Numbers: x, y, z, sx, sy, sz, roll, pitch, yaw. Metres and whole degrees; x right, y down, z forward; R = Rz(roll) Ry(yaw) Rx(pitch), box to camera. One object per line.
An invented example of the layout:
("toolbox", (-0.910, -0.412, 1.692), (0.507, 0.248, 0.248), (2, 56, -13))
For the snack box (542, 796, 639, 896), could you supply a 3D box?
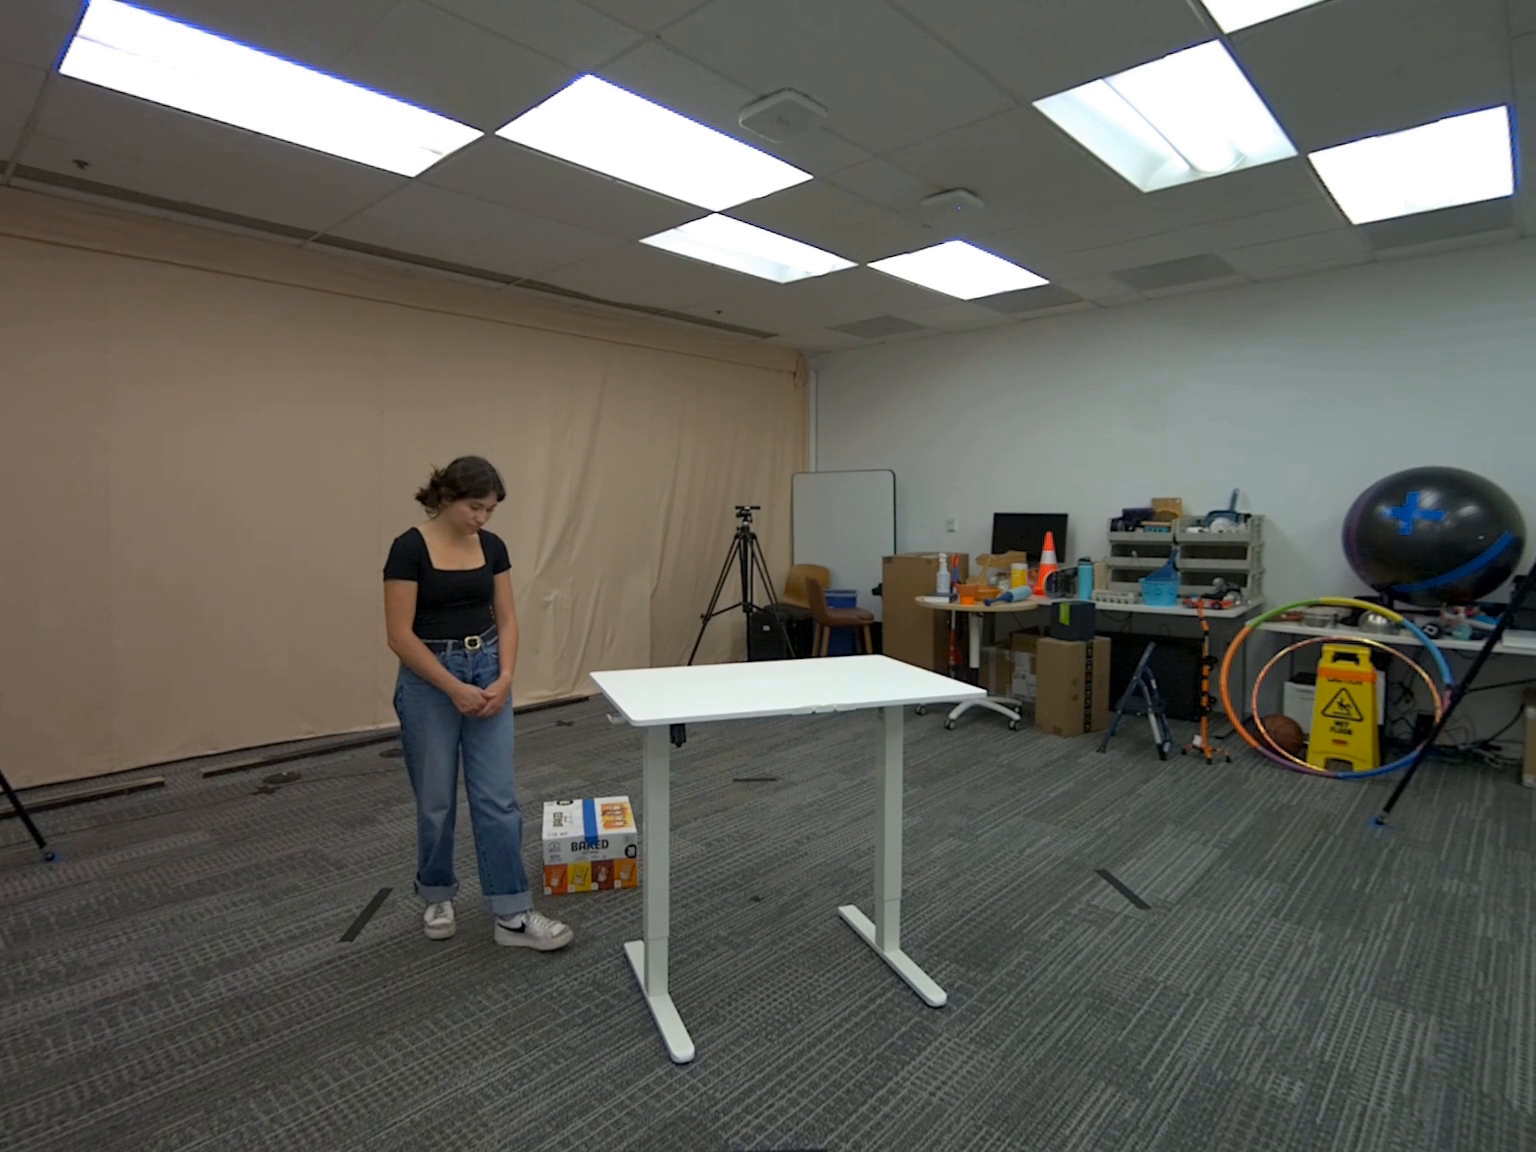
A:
("snack box", (-0.695, 1.028, 3.244), (0.336, 0.205, 0.411), (-1, 4, -13))
